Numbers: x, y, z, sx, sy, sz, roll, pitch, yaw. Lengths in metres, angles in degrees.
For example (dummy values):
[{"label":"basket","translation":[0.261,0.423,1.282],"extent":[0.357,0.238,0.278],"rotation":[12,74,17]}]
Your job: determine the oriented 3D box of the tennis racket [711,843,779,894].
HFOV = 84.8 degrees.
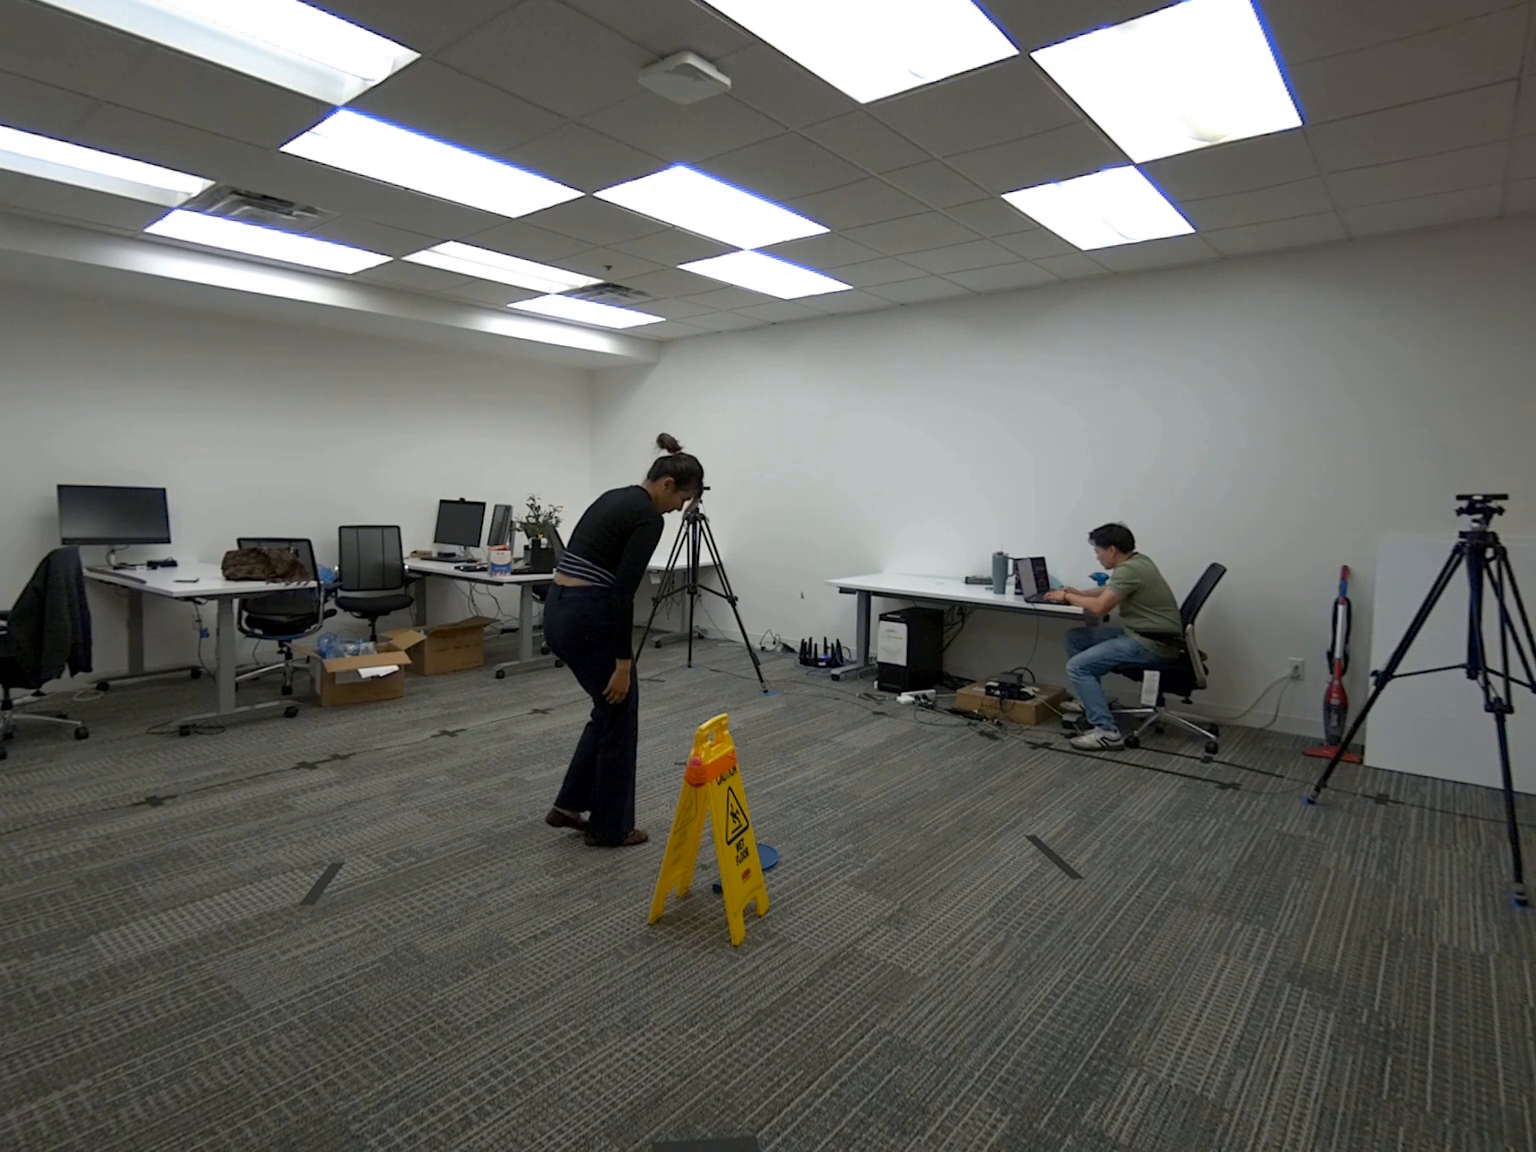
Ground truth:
[{"label":"tennis racket","translation":[-0.103,1.050,3.109],"extent":[0.219,0.032,0.423],"rotation":[3,5,22]}]
